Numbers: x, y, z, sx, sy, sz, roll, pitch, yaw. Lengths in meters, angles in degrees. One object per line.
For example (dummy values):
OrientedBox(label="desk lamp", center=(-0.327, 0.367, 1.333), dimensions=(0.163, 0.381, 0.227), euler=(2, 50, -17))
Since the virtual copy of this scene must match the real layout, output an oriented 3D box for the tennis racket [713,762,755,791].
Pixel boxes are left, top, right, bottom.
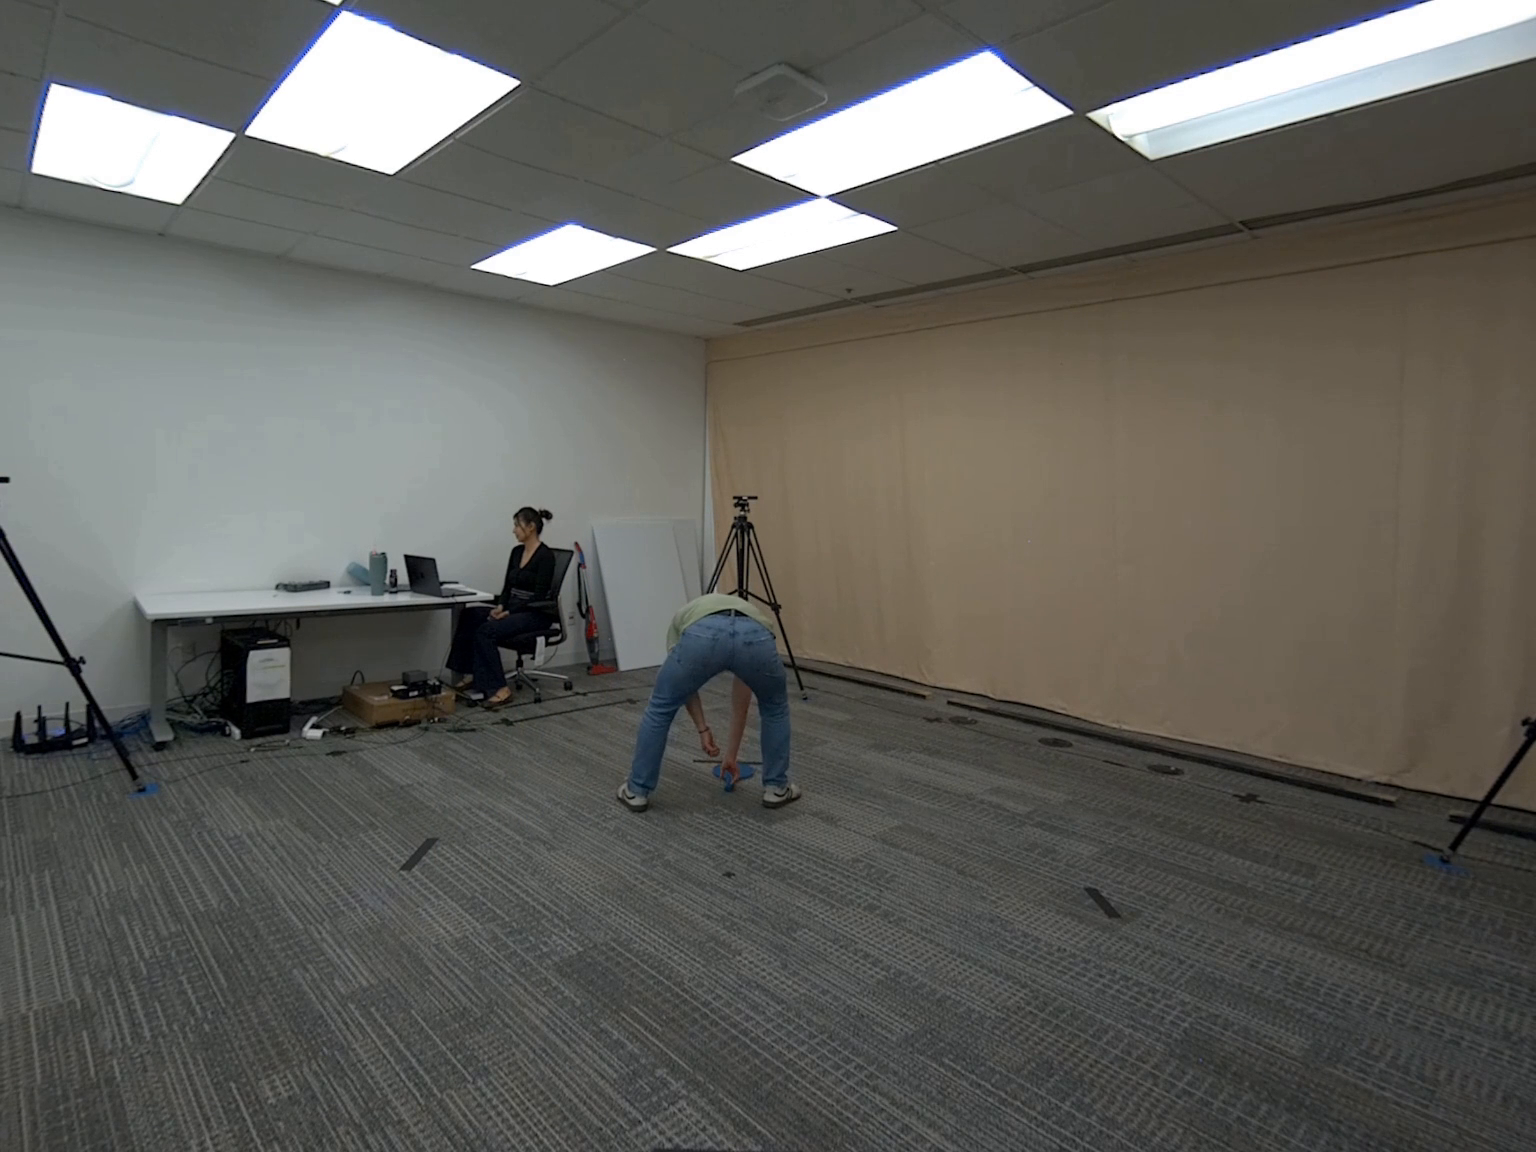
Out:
OrientedBox(label="tennis racket", center=(-0.187, 0.992, 4.196), dimensions=(0.215, 0.032, 0.432), euler=(2, 4, 5))
